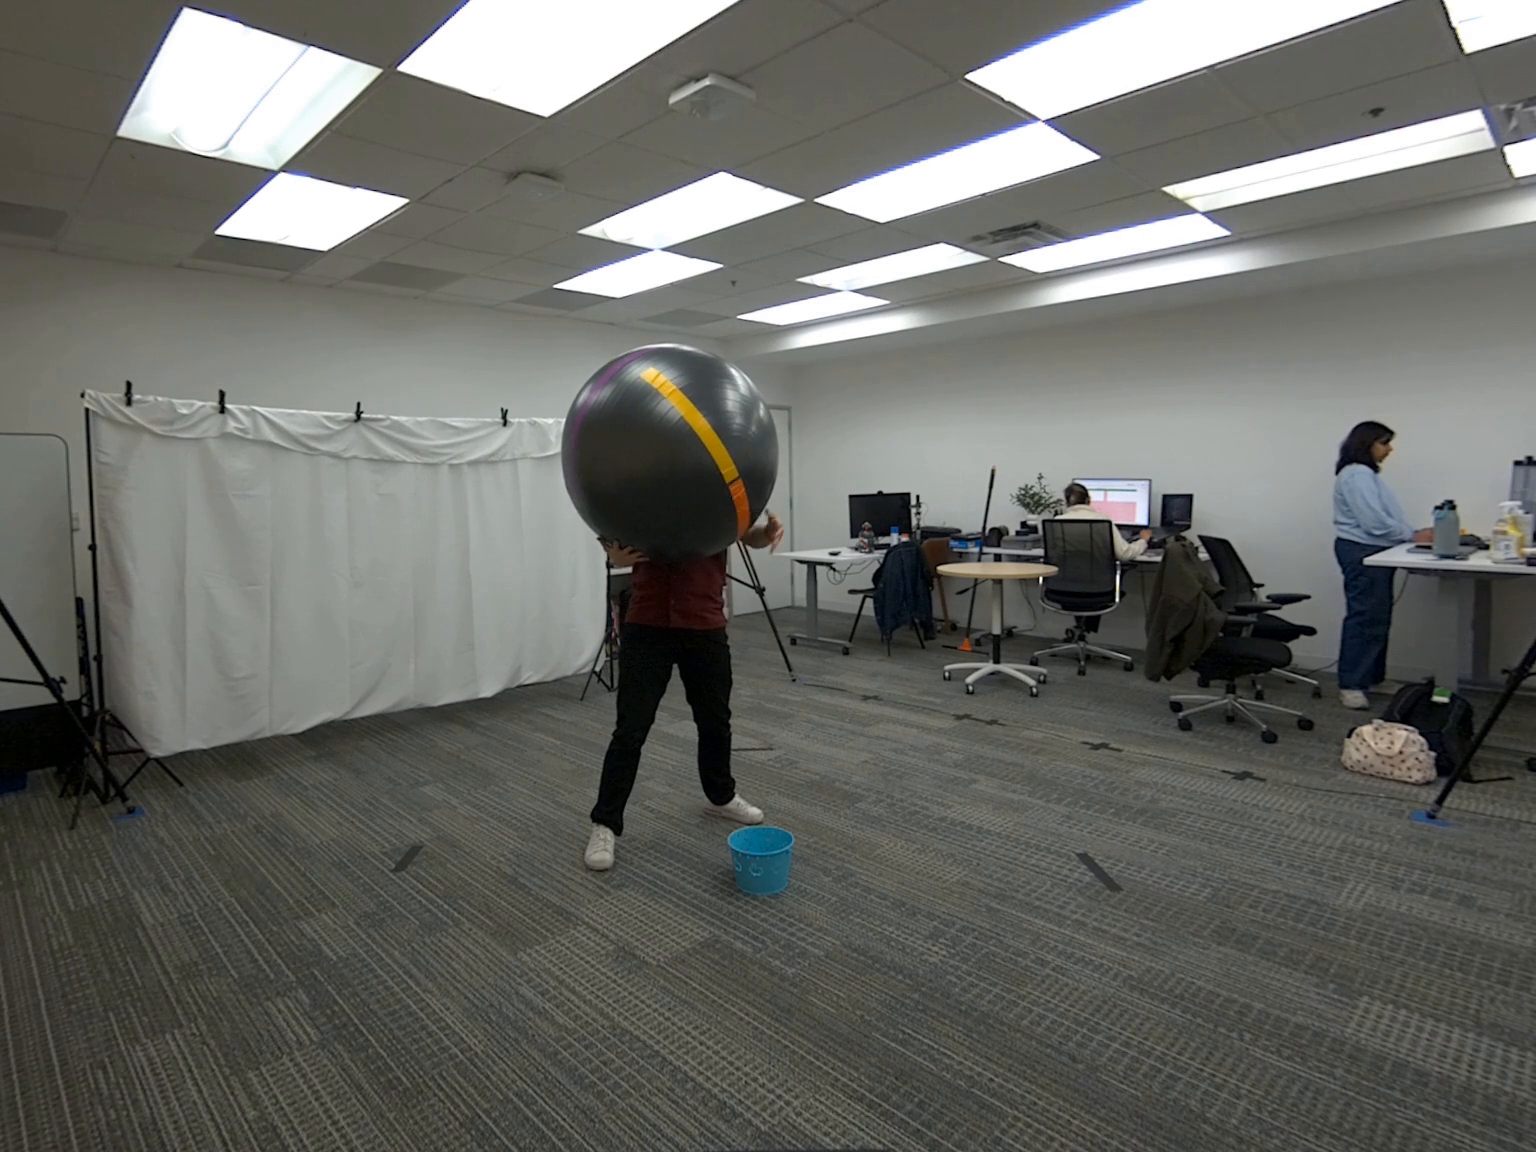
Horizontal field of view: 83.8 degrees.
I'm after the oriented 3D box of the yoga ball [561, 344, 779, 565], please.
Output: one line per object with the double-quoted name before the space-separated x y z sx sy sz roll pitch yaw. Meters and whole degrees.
"yoga ball" -0.341 -0.419 2.989 0.757 0.755 0.762 -1 5 -2
